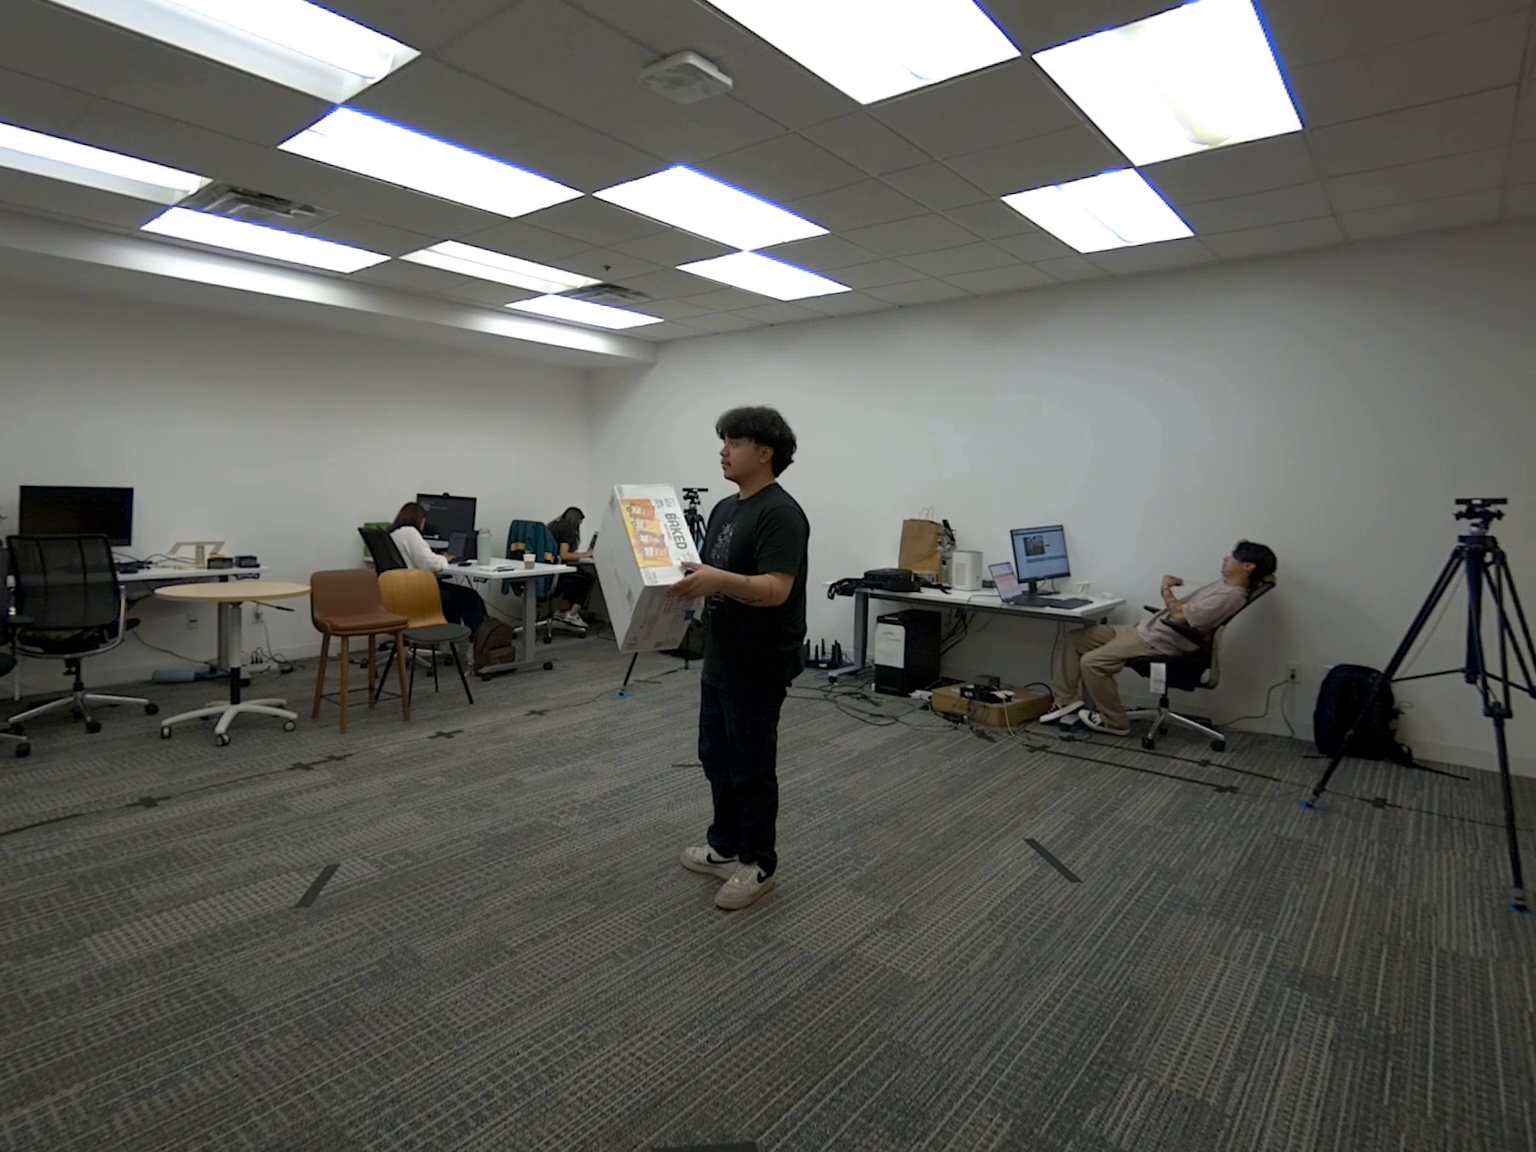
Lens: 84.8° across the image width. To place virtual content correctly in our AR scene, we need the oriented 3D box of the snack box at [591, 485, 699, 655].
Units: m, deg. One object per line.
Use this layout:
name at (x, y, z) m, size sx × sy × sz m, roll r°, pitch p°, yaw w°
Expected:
snack box at (-0.398, -0.025, 2.692) m, size 0.201 × 0.420 × 0.335 m, roll -3°, pitch -40°, yaw -26°
